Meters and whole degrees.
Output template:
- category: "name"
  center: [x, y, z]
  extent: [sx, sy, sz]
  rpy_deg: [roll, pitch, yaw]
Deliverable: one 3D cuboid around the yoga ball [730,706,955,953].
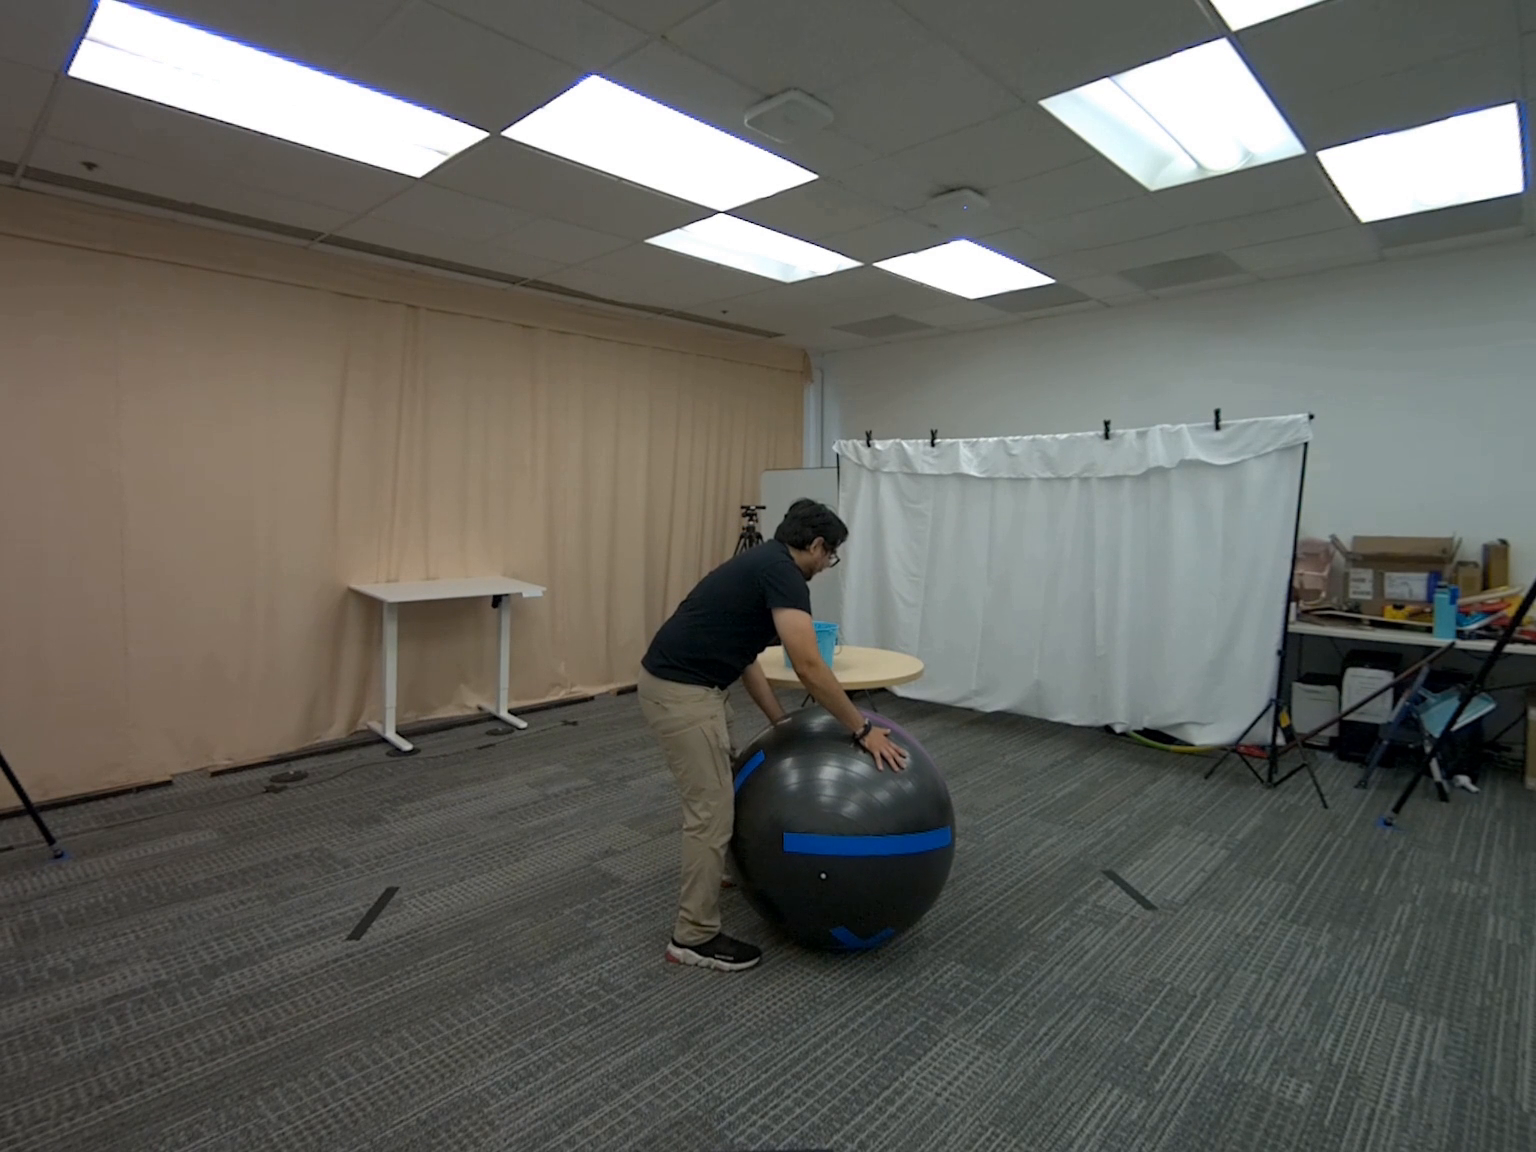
- category: "yoga ball"
  center: [0.236, 0.817, 2.756]
  extent: [0.757, 0.756, 0.760]
  rpy_deg: [0, 4, -2]
